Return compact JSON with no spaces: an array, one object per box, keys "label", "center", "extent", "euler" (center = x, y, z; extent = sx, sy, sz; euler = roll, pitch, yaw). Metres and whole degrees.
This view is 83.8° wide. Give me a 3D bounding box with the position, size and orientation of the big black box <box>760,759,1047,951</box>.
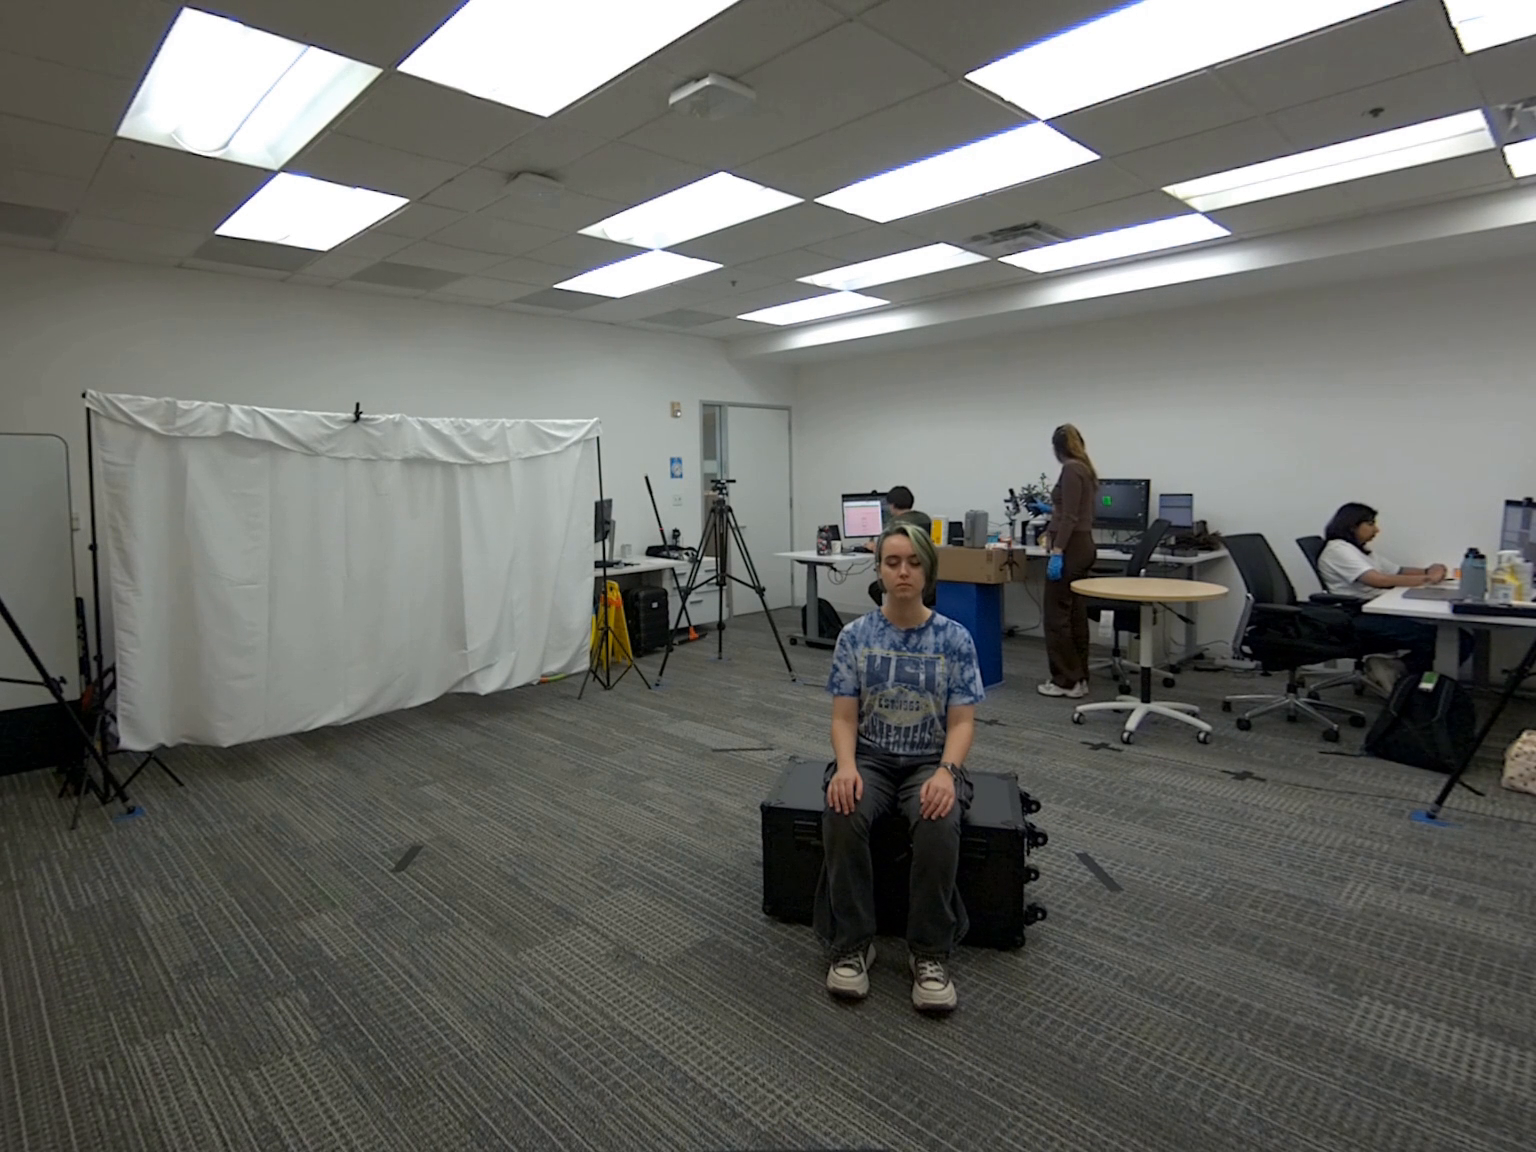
[{"label":"big black box","center":[0.447,0.881,2.800],"extent":[0.874,0.395,0.516],"euler":[0,5,15]}]
